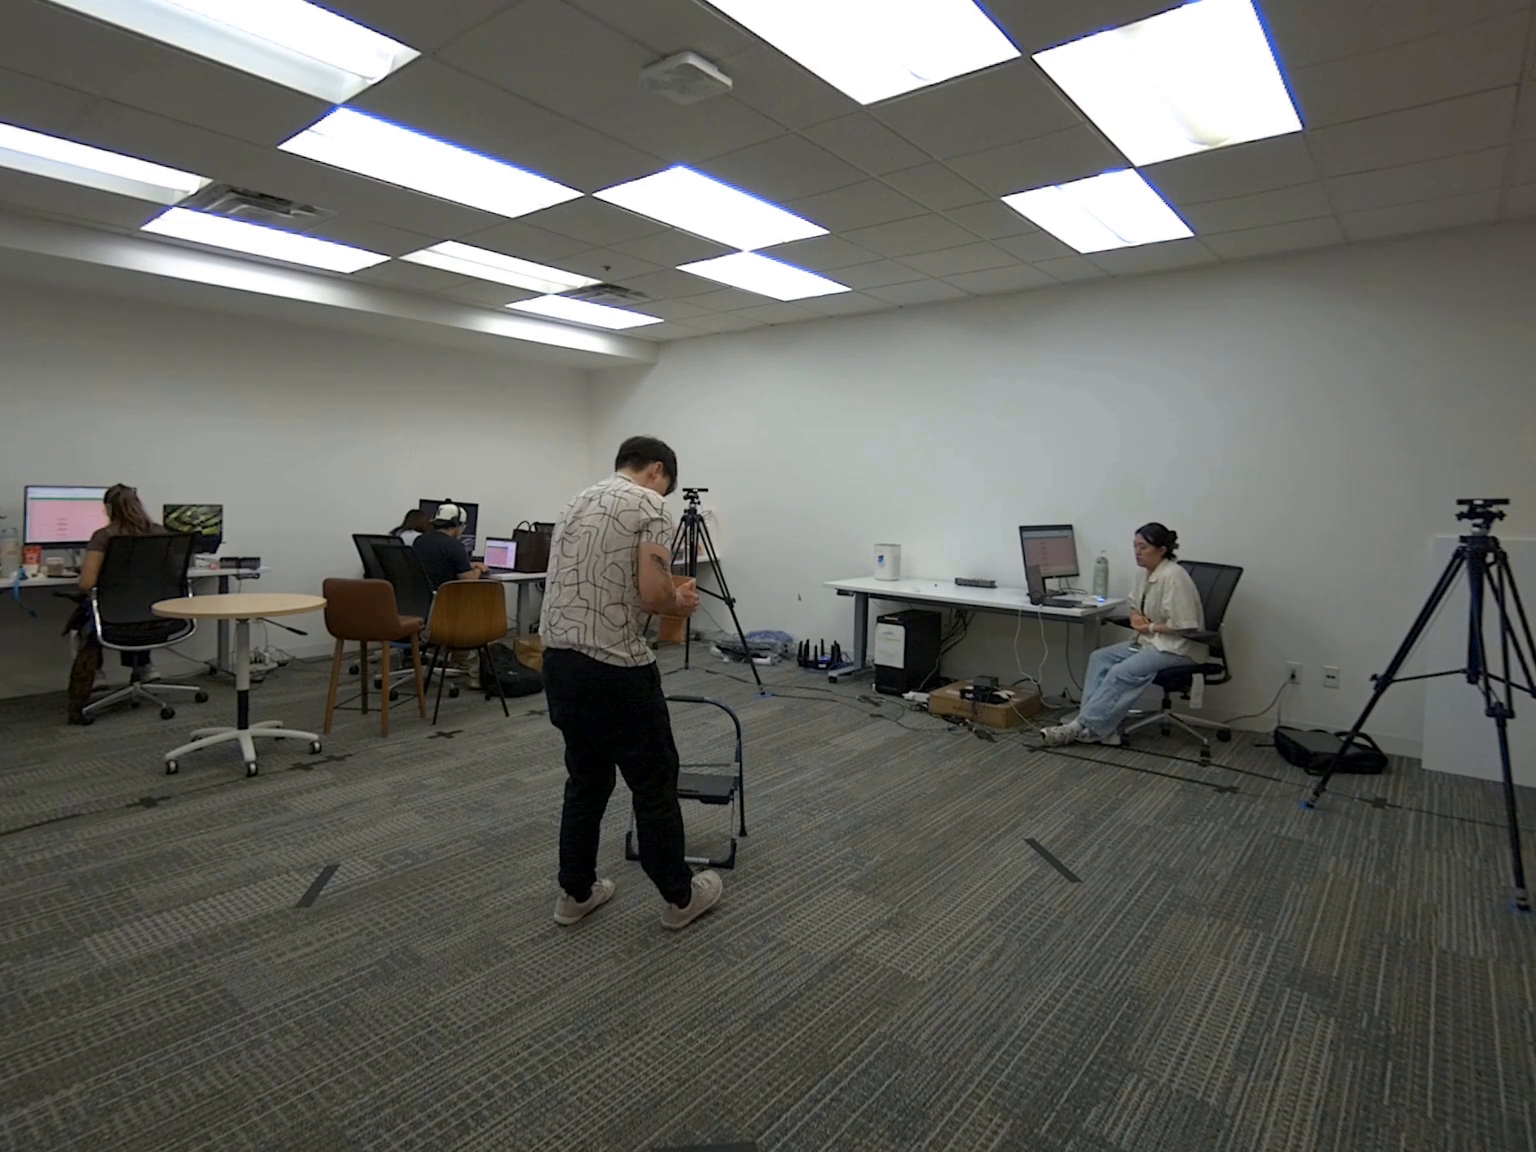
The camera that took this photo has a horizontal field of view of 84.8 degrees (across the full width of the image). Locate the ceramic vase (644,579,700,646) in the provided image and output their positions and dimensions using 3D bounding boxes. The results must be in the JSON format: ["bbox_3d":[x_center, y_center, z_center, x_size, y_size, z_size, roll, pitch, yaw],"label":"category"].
[{"bbox_3d":[-0.334,0.114,2.846,0.156,0.220,0.136,5,-3,-14],"label":"ceramic vase"}]
